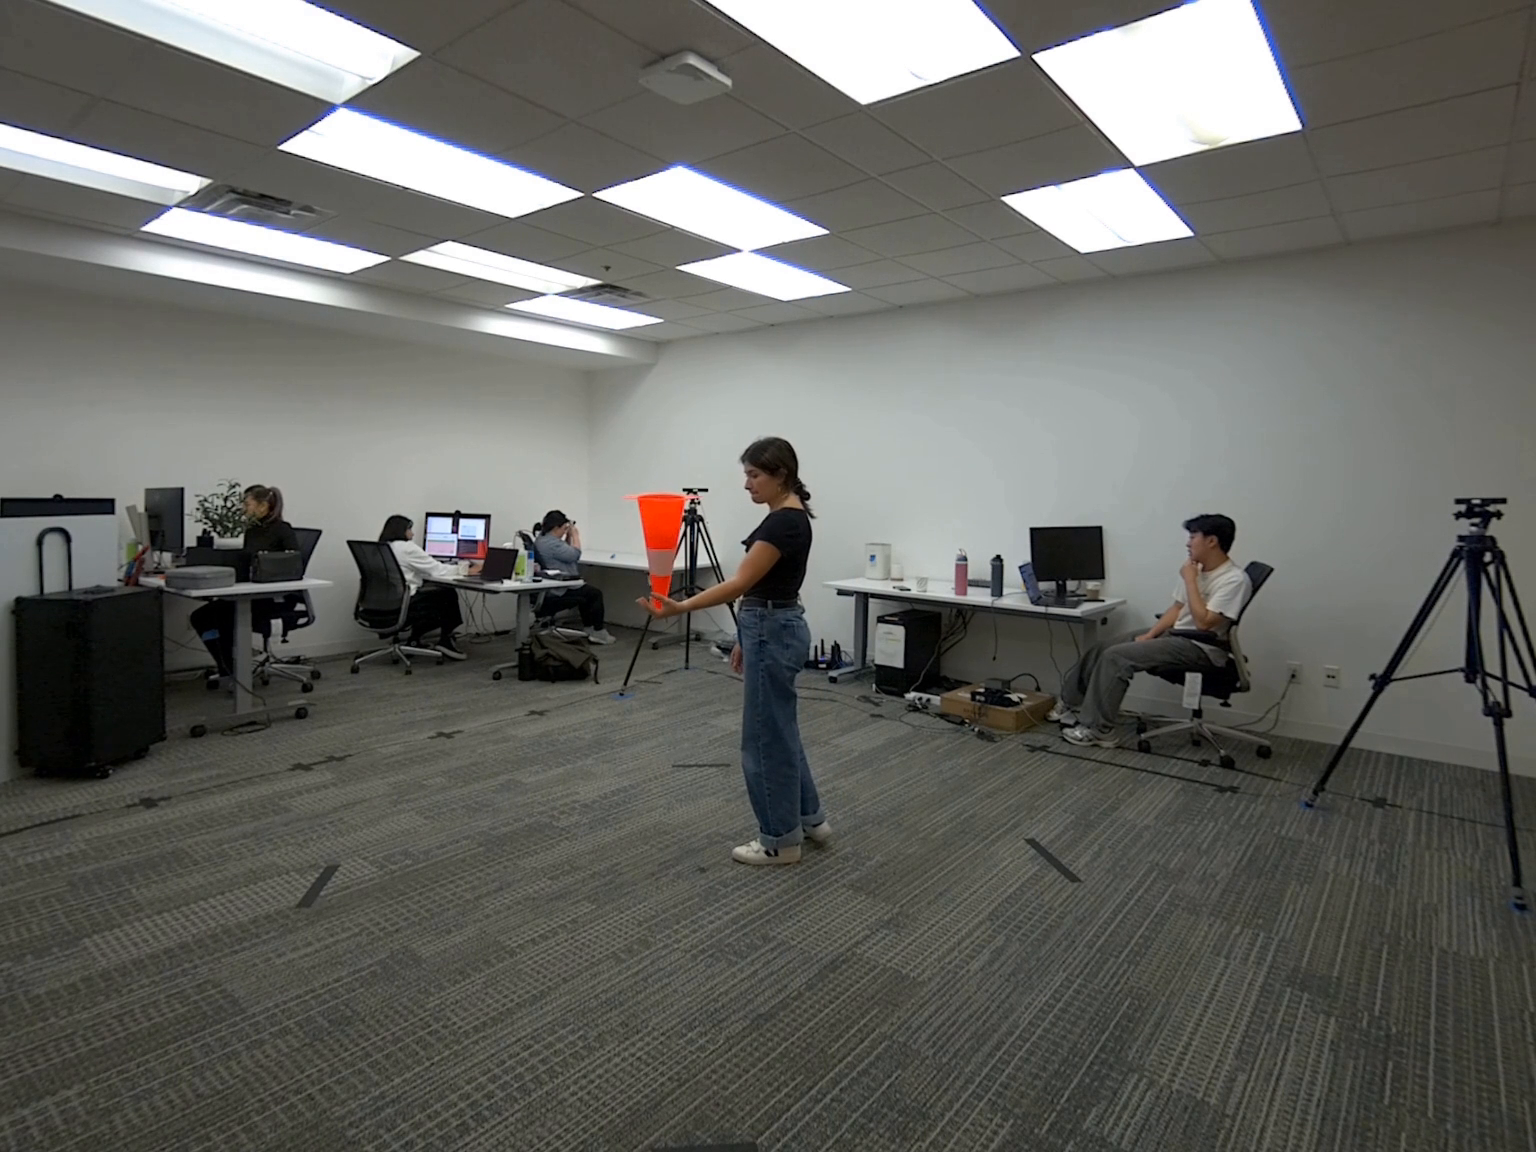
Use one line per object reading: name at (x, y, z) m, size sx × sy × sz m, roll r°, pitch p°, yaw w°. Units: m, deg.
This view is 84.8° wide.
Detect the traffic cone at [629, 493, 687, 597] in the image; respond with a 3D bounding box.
traffic cone at (-0.356, -0.078, 2.795) m, size 0.198 × 0.380 × 0.212 m, roll -4°, pitch 10°, yaw -28°
